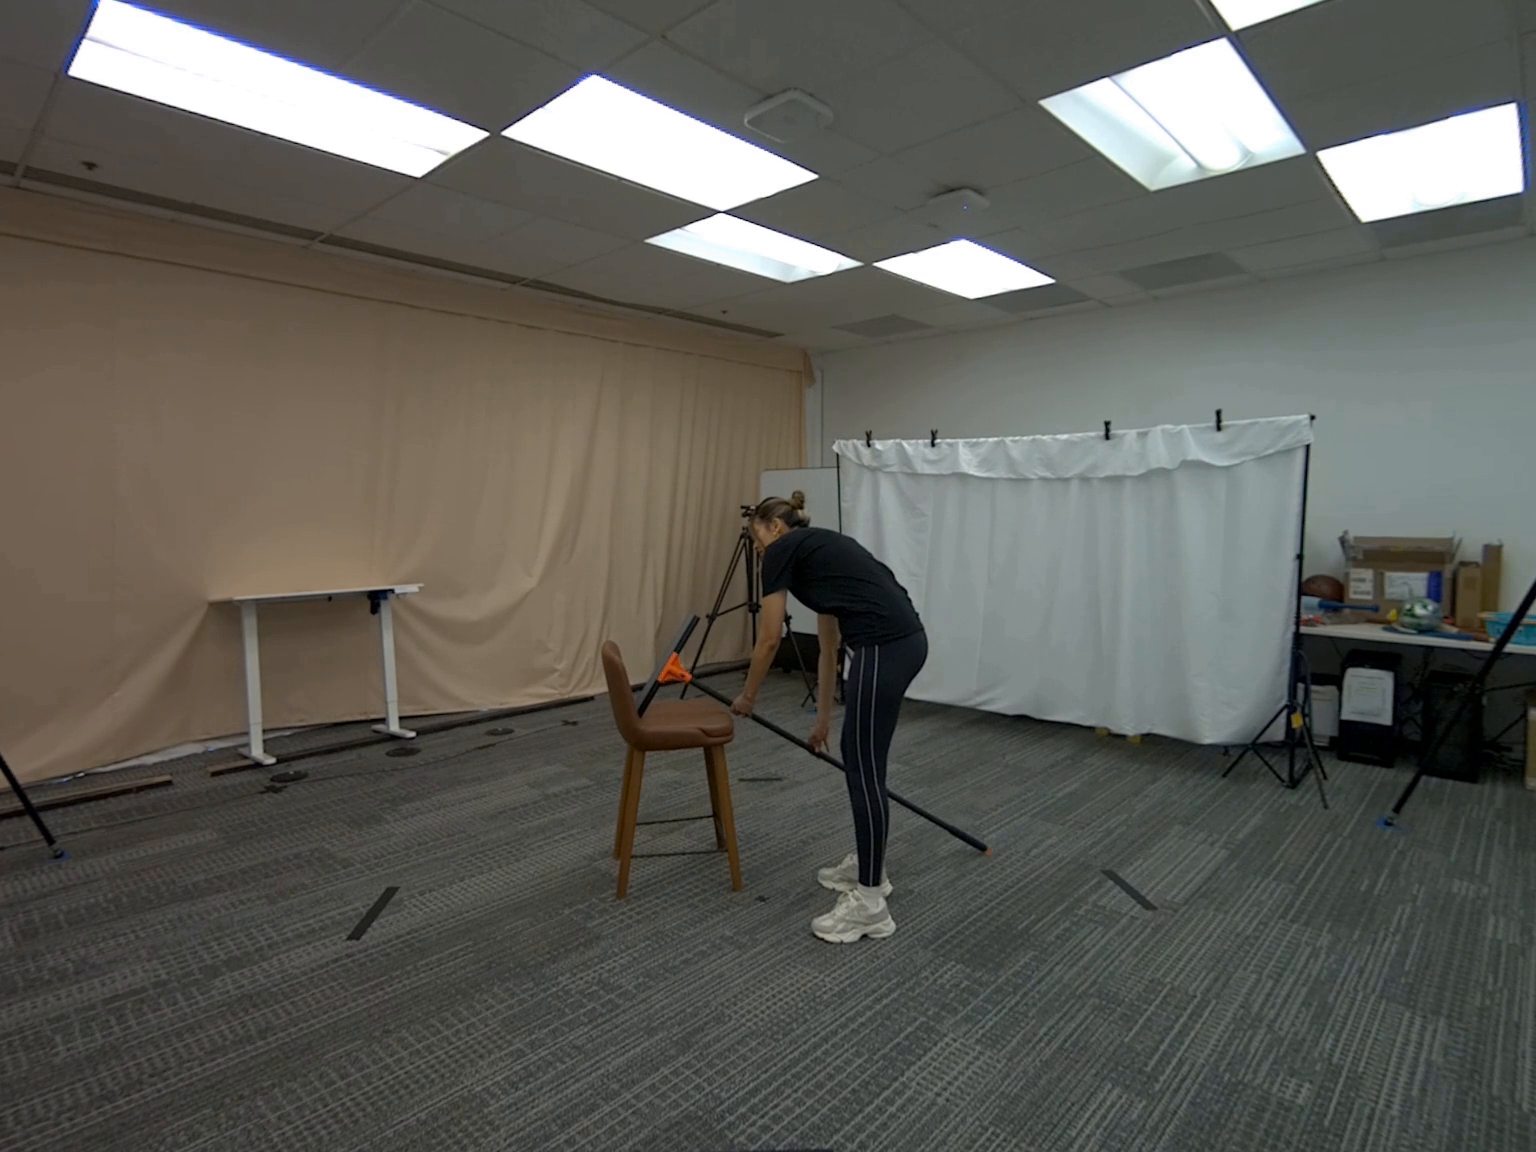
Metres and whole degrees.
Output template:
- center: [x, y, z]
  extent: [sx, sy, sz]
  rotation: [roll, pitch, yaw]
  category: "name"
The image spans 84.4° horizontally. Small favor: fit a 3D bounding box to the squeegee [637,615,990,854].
- center: [0.250, 0.707, 3.269]
  extent: [1.521, 0.438, 0.053]
  rotation: [30, 15, -9]
  category: "squeegee"
